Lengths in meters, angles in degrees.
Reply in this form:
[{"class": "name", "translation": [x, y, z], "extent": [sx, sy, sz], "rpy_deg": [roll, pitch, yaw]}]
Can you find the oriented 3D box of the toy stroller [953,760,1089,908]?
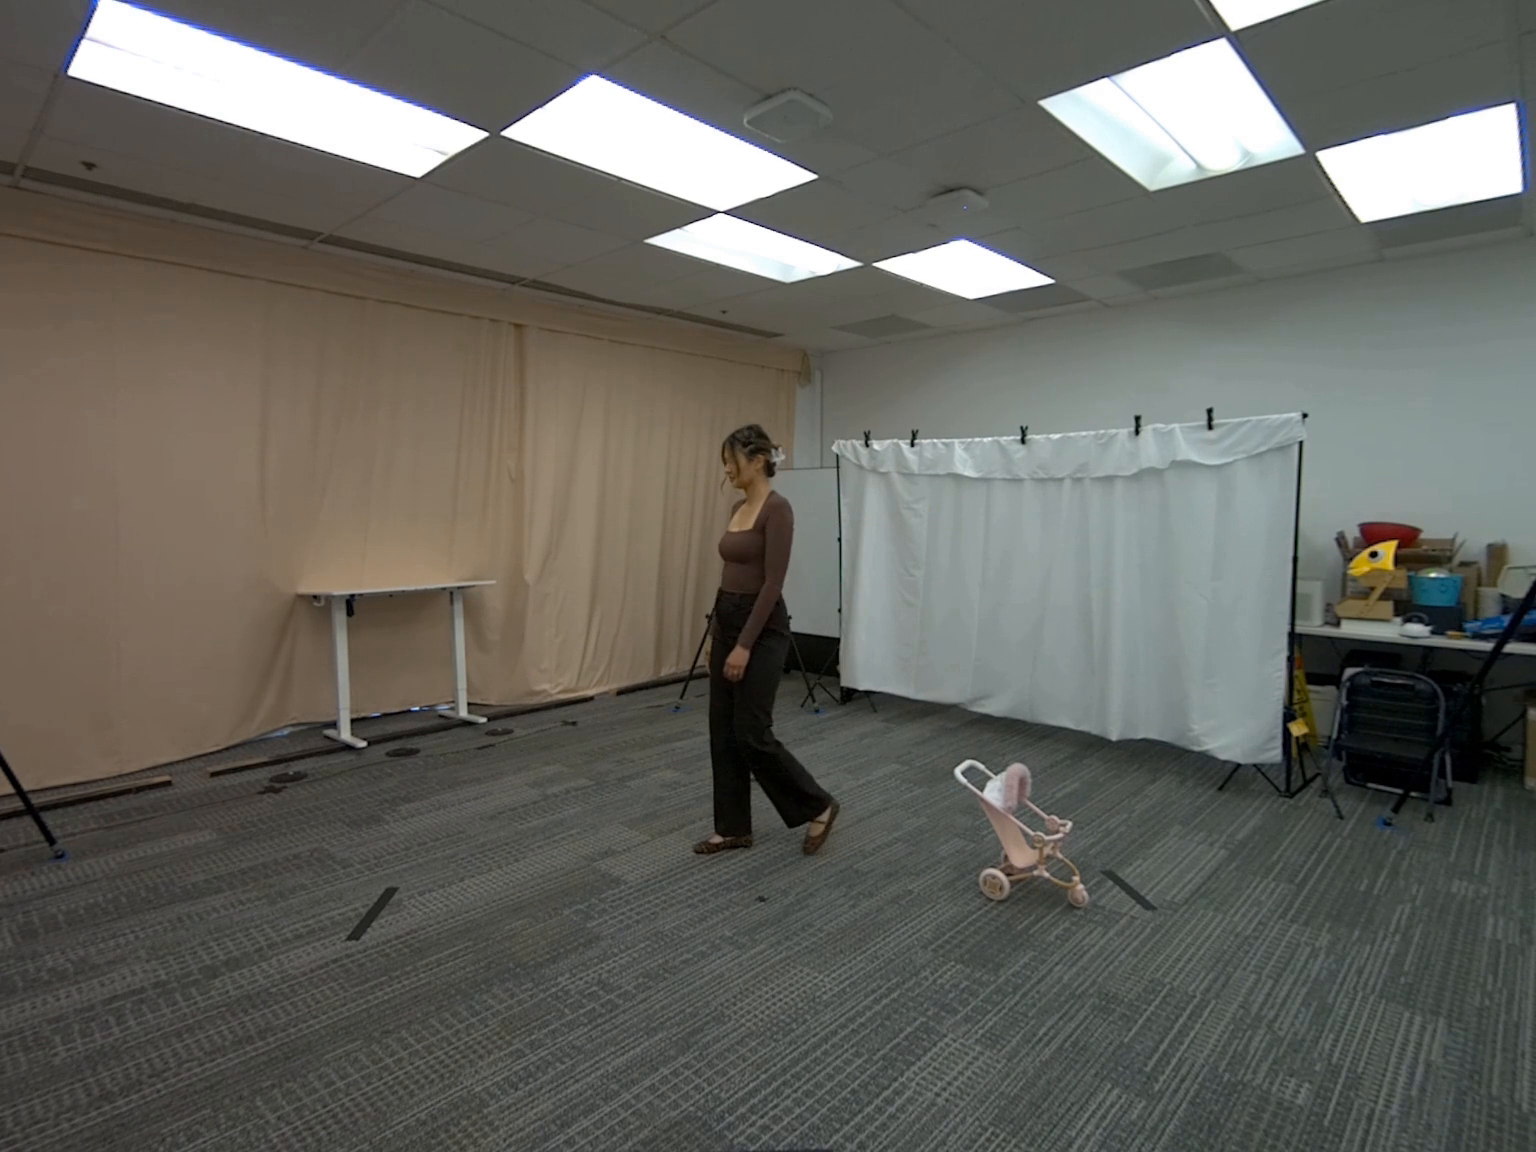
[{"class": "toy stroller", "translation": [0.924, 0.917, 3.021], "extent": [0.349, 0.539, 0.273], "rpy_deg": [-20, -10, 39]}]
